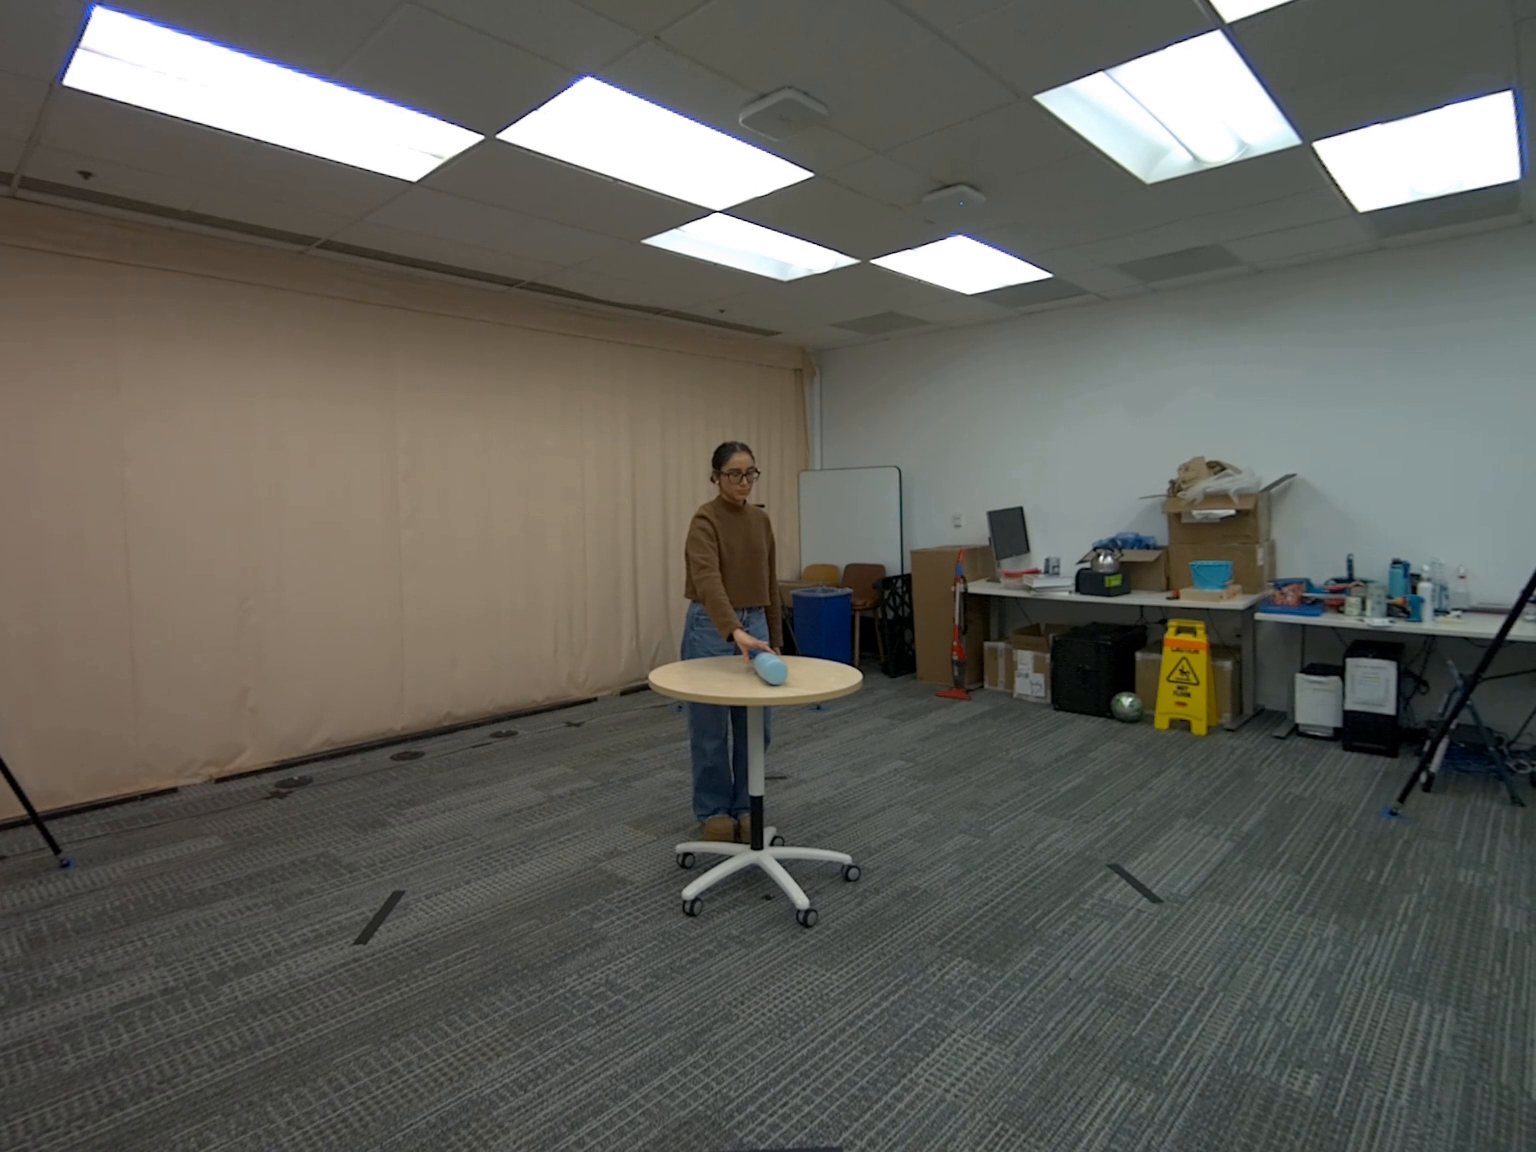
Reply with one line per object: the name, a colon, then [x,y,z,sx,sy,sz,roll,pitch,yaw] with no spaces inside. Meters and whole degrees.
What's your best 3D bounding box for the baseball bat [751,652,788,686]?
baseball bat: [-0.018,0.313,3.069,0.088,0.089,0.549,-2,2,-11]
